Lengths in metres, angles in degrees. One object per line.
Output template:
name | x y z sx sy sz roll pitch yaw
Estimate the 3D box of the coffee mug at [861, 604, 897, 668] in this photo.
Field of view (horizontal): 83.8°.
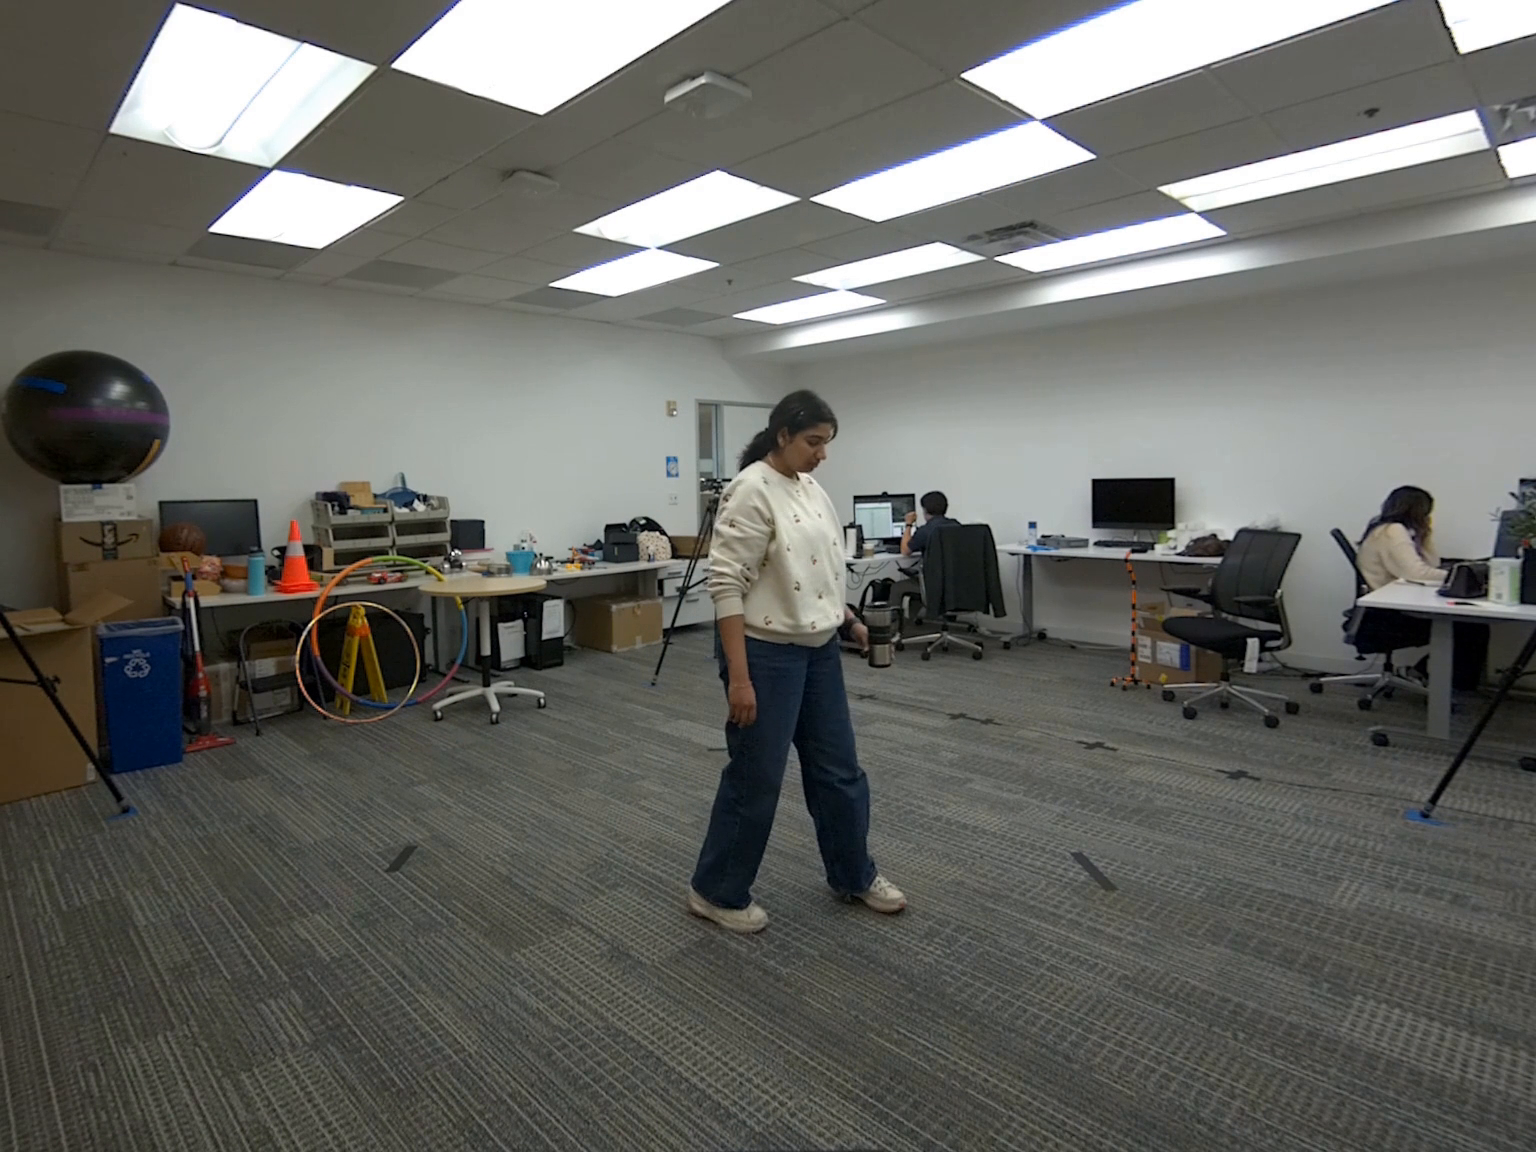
coffee mug | 0.364 0.183 2.690 0.124 0.203 0.086 -4 -1 18
